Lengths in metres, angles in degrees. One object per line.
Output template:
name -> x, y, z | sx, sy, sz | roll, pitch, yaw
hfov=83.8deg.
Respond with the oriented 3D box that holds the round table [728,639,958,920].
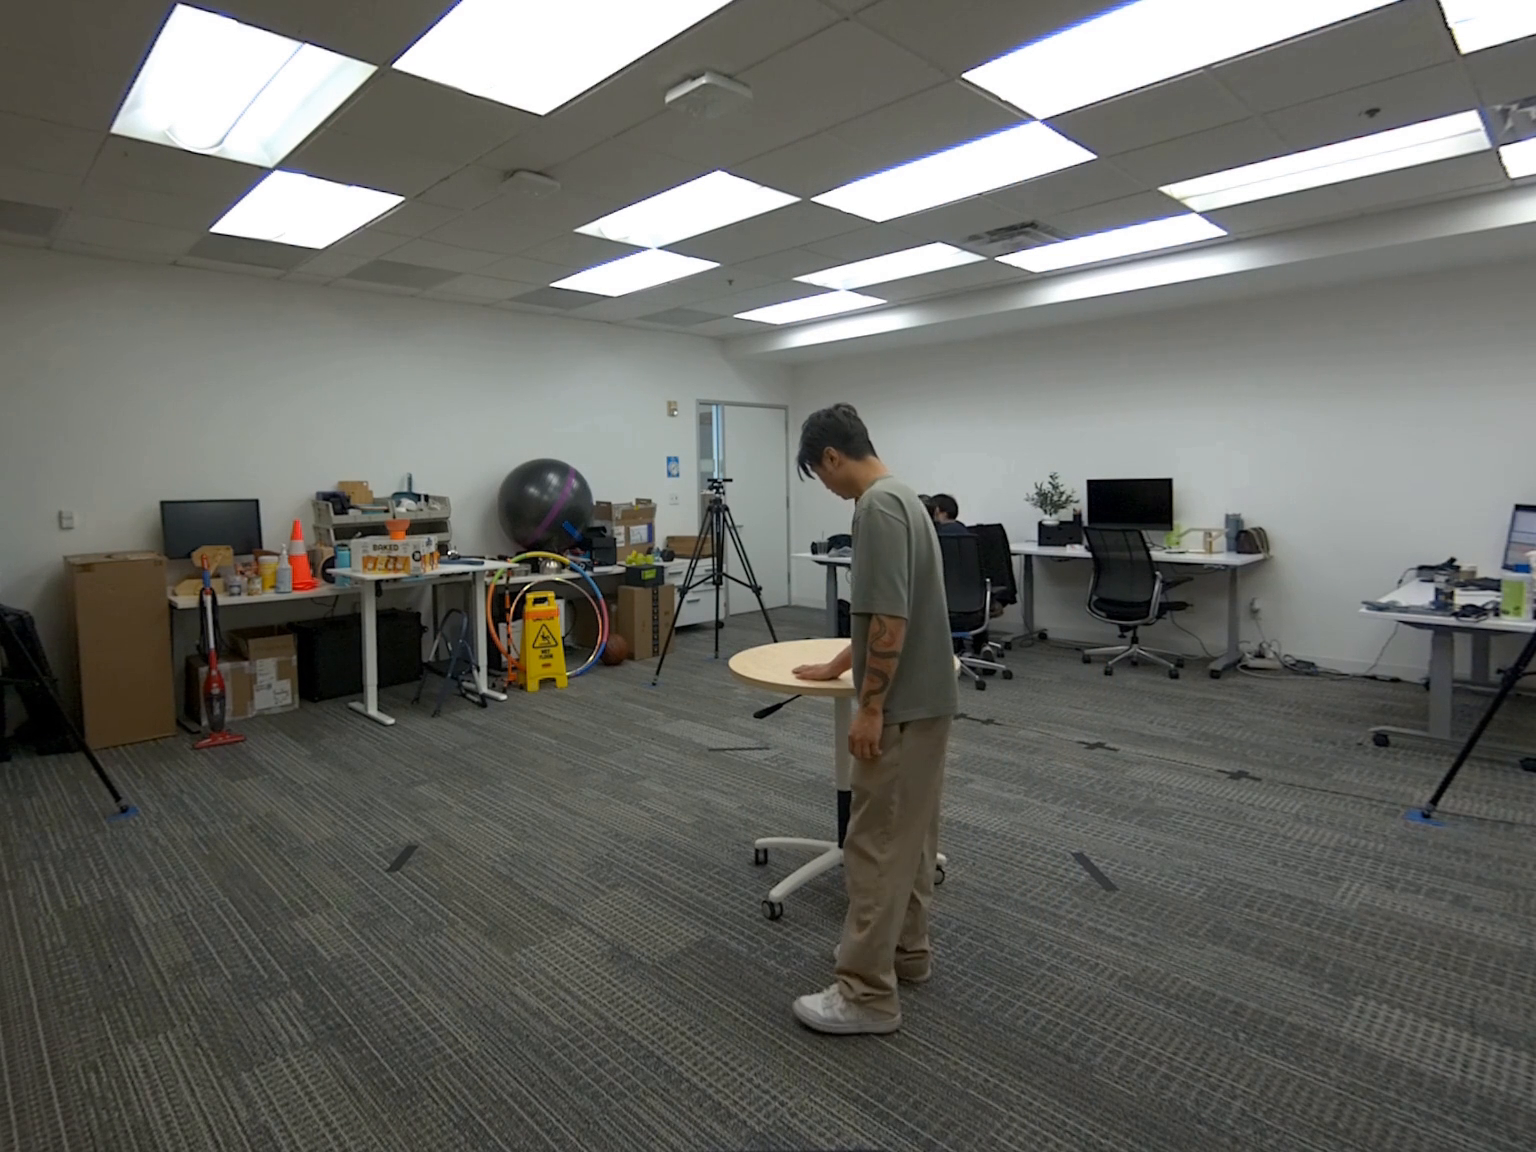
round table -> 0.265, 0.676, 2.896 | 0.763, 0.791, 0.768 | -2, 5, -2
